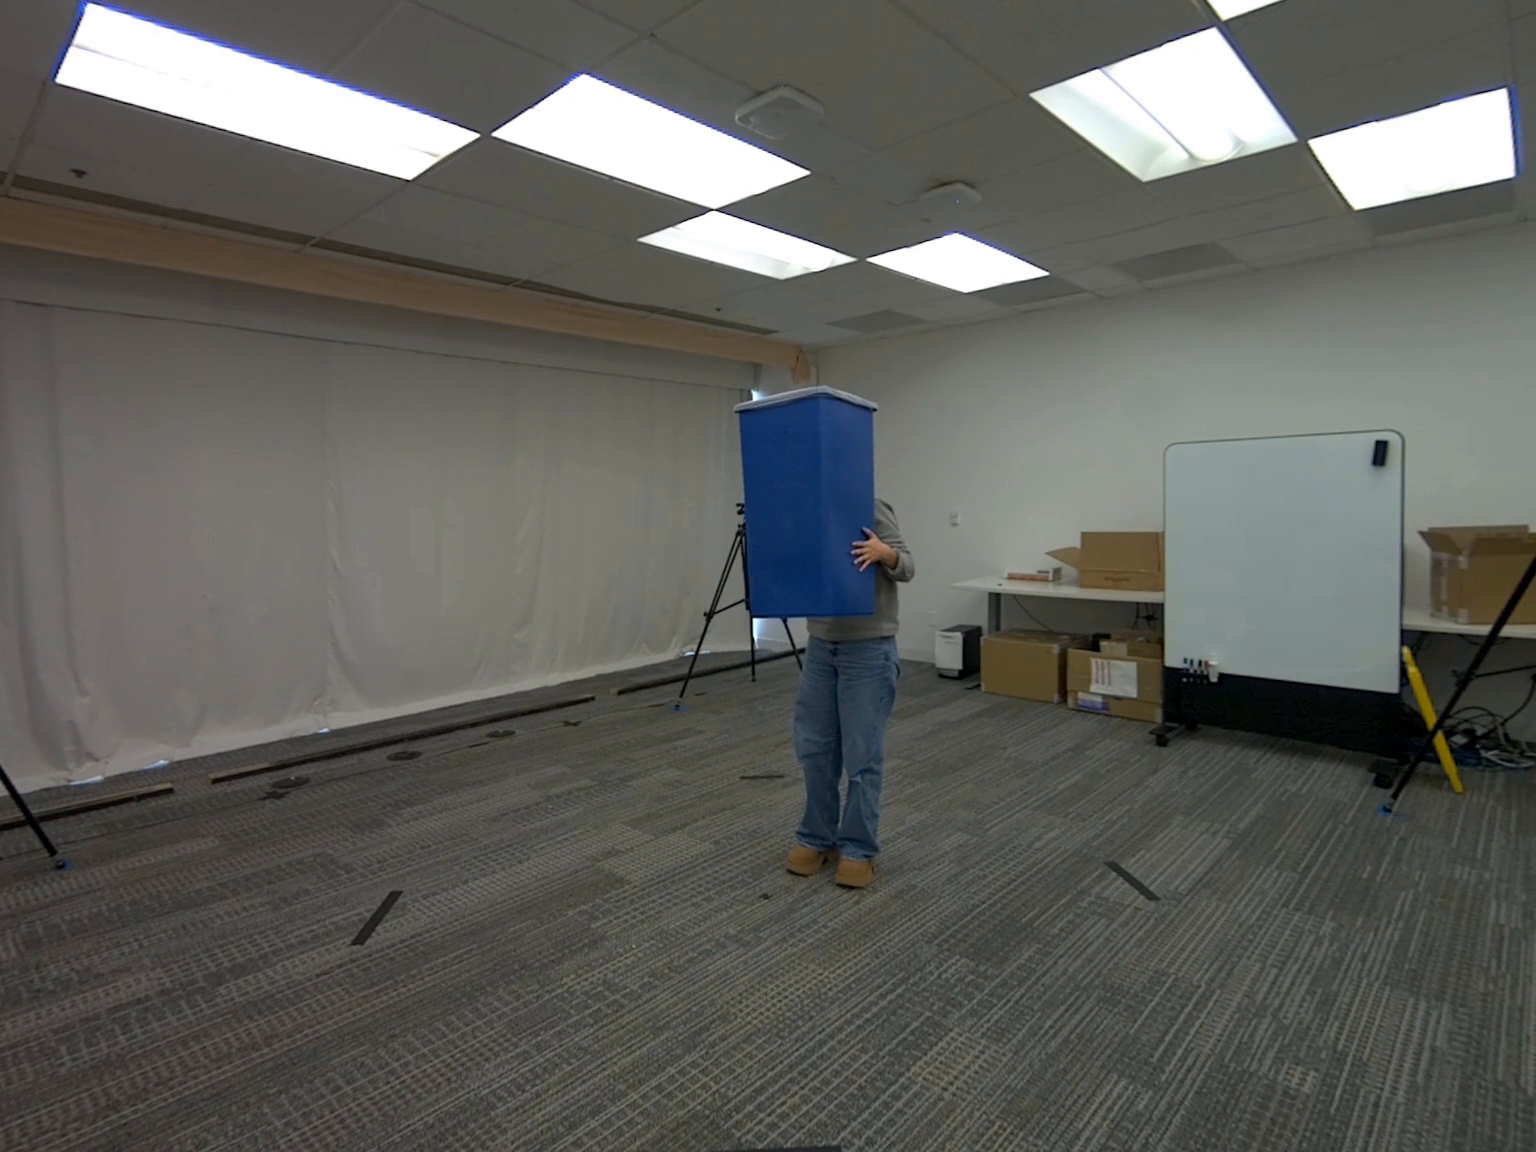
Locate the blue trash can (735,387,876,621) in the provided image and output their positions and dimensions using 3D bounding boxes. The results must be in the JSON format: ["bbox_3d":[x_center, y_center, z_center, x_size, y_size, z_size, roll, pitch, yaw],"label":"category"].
[{"bbox_3d":[0.142,-0.226,2.799,0.389,0.716,0.362,-6,-6,38],"label":"blue trash can"}]
